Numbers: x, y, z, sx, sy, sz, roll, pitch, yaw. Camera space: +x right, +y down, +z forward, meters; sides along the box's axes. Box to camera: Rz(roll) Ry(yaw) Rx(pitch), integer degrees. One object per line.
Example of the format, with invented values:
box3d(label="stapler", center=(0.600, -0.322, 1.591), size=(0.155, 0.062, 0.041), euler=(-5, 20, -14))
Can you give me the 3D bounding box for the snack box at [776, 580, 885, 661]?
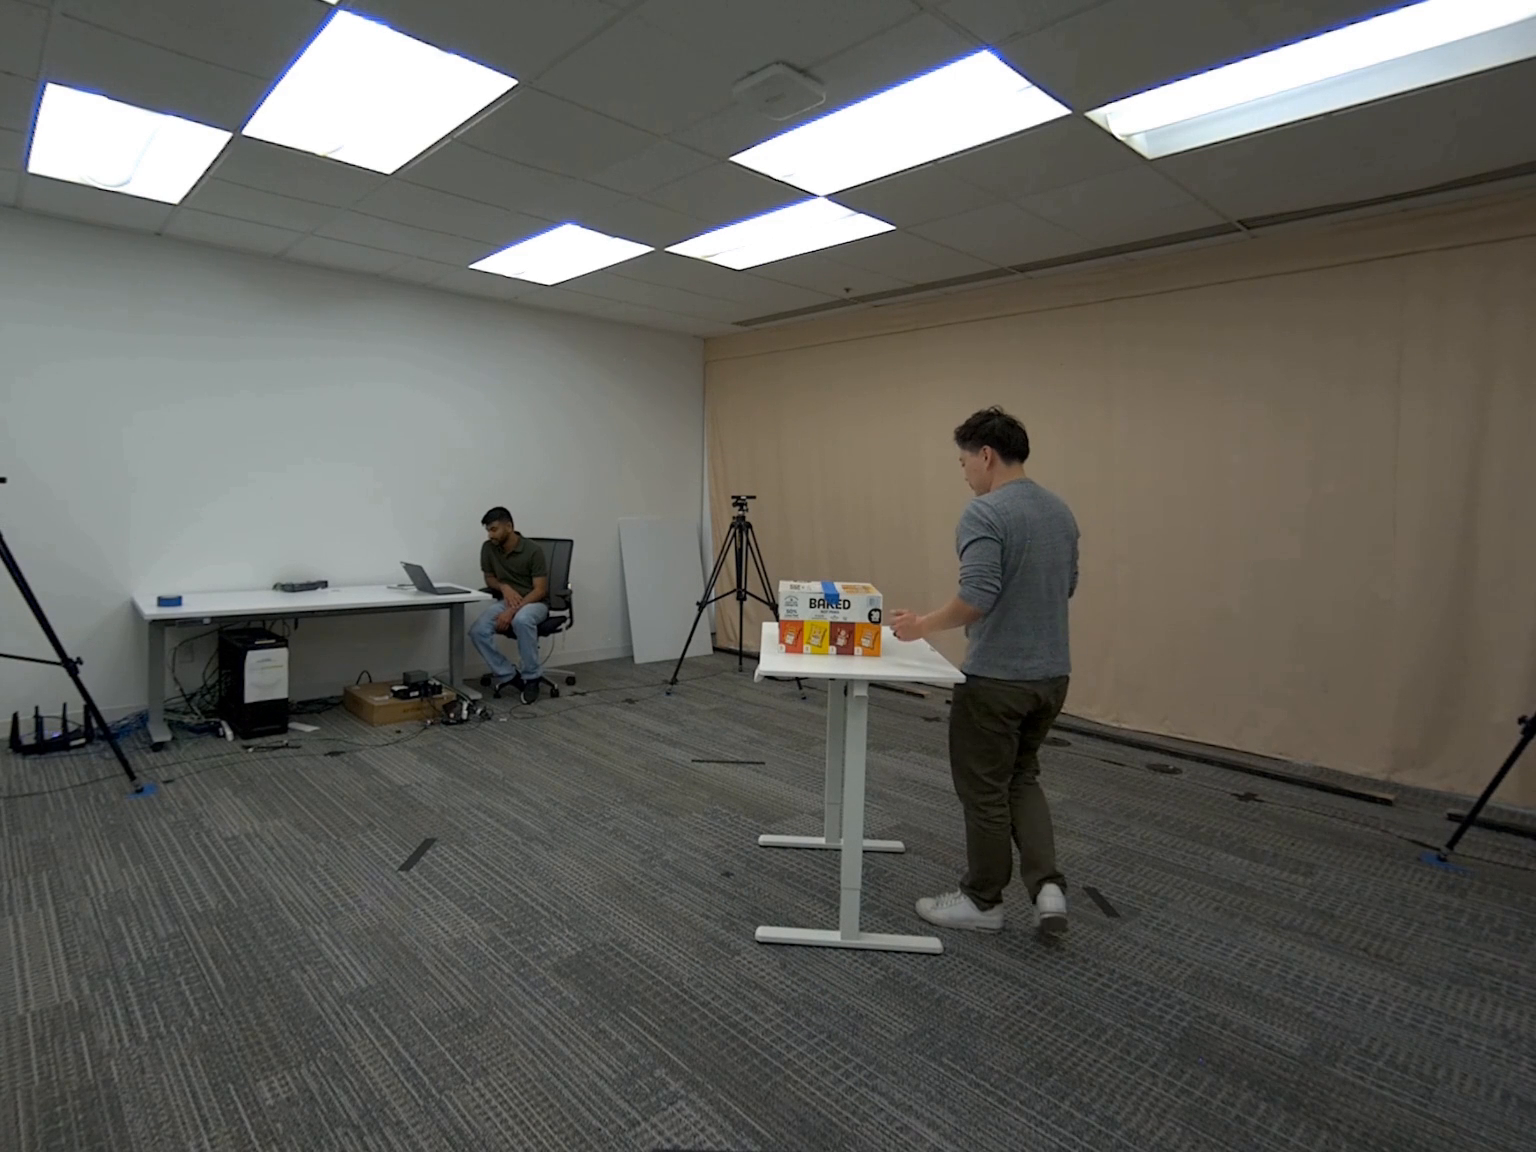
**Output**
box3d(label="snack box", center=(0.208, 0.143, 2.951), size=(0.341, 0.205, 0.405), euler=(3, 4, 3))
